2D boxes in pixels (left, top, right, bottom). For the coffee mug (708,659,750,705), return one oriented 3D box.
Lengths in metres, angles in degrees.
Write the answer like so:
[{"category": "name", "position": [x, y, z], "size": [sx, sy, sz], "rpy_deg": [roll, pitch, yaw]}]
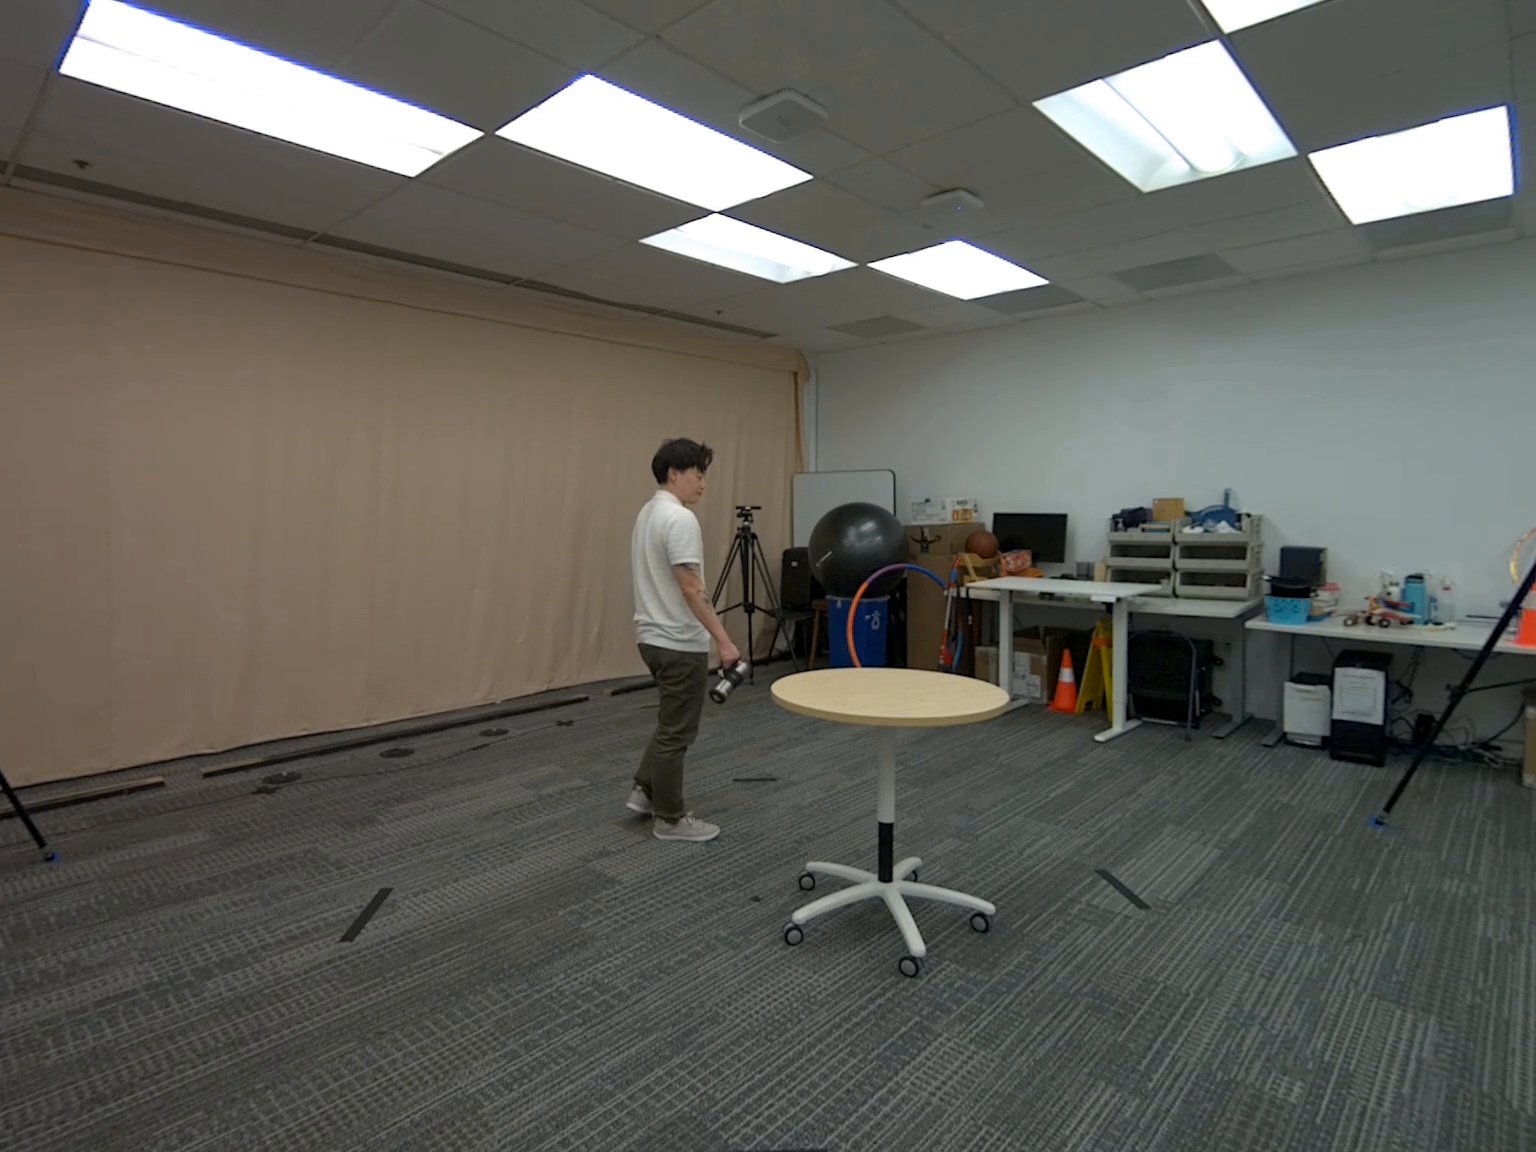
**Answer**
[{"category": "coffee mug", "position": [-0.176, 0.399, 3.310], "size": [0.200, 0.122, 0.089], "rpy_deg": [-42, 1, -36]}]
